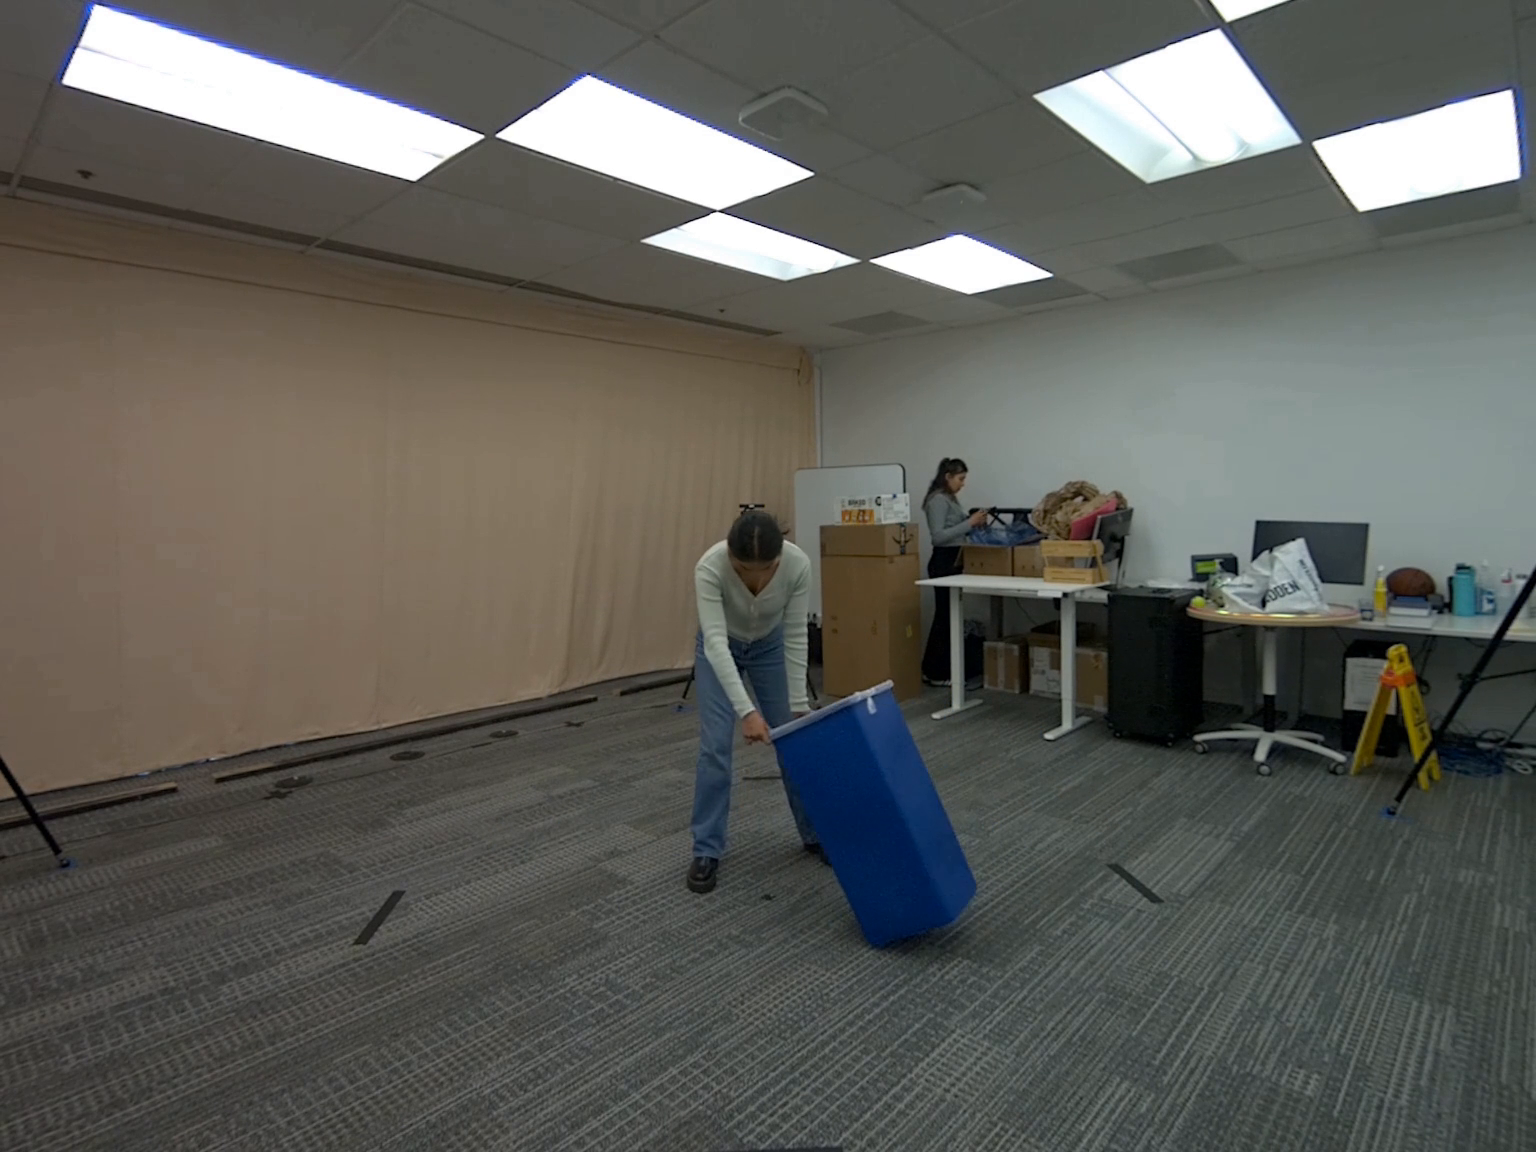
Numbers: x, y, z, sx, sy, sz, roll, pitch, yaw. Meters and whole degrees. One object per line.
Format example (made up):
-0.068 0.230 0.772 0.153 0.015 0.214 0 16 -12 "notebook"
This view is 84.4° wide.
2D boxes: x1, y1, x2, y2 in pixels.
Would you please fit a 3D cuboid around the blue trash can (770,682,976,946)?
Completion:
0.342 0.766 2.764 0.379 0.723 0.367 -30 -14 27 "blue trash can"
